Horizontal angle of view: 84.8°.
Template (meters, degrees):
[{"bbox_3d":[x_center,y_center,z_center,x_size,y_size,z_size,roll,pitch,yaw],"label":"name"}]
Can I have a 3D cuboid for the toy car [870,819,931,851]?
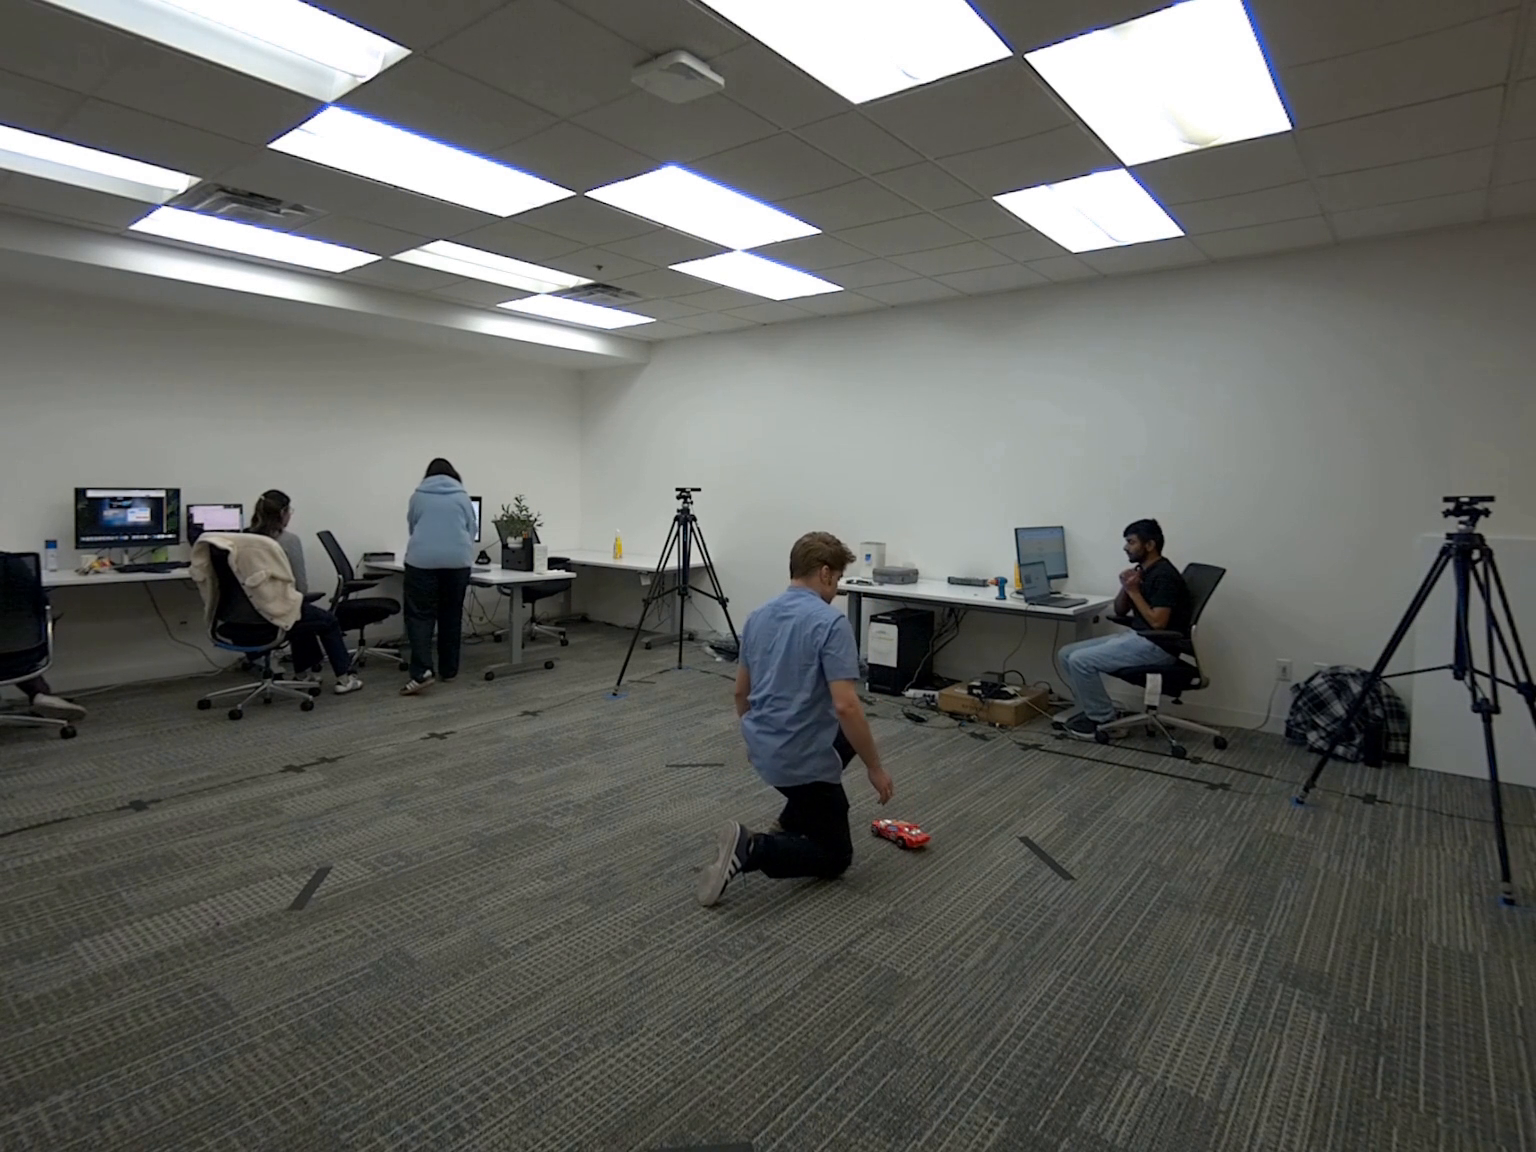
[{"bbox_3d":[0.529,1.027,3.394,0.126,0.083,0.261,-1,-4,-36],"label":"toy car"}]
